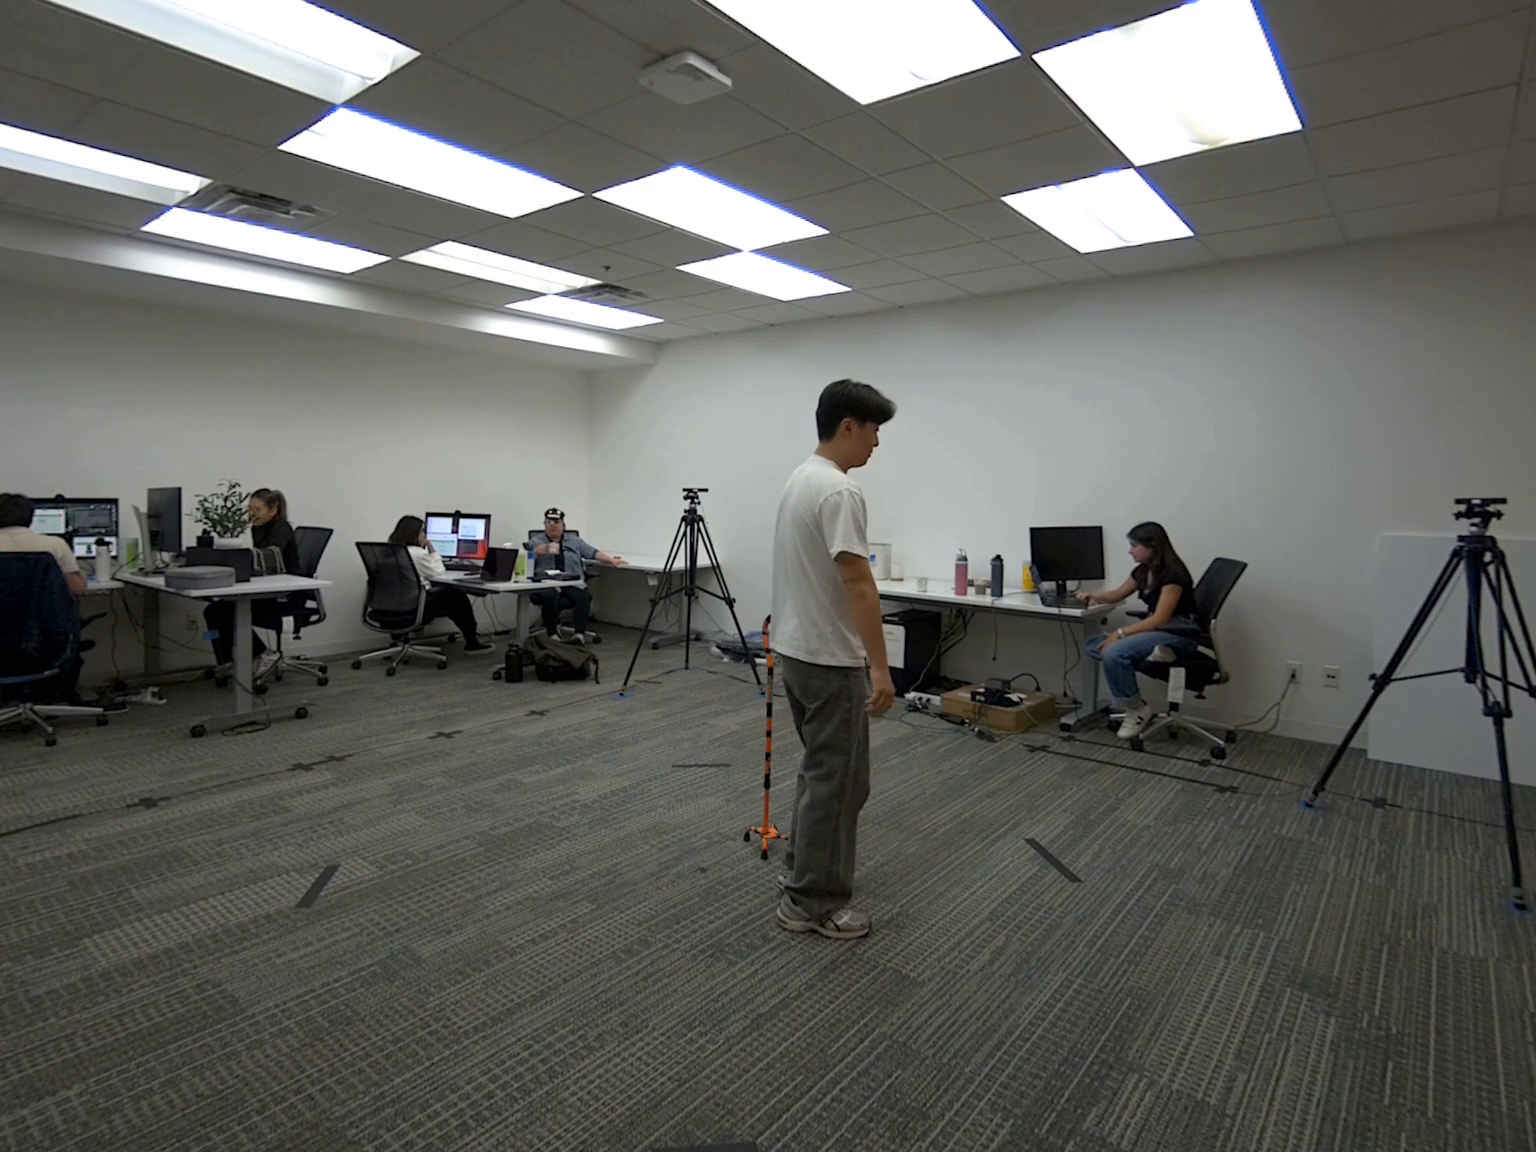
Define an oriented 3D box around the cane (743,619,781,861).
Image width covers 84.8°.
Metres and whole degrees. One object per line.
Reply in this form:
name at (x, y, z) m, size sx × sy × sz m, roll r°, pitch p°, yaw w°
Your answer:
cane at (0.013, 0.600, 3.295) m, size 0.148 × 0.905 × 0.211 m, roll -1°, pitch 3°, yaw -23°
